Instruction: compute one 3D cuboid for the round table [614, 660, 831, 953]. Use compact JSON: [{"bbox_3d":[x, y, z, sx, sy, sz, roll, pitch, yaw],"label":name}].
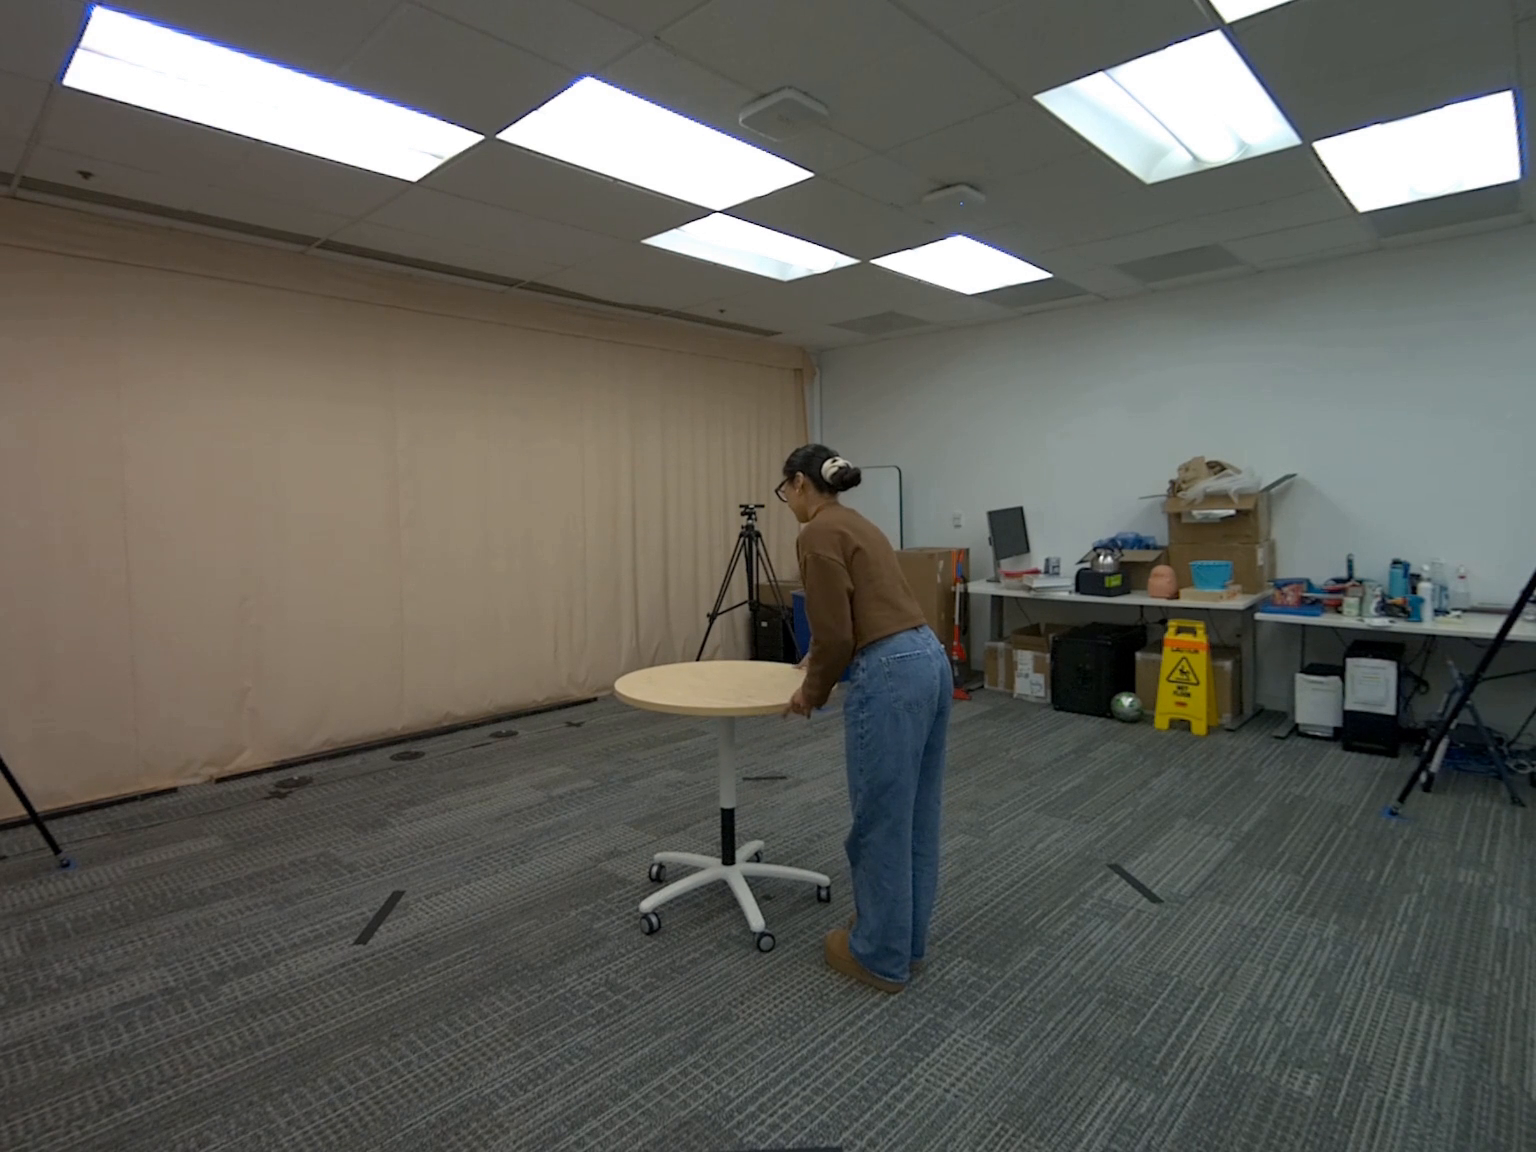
[{"bbox_3d":[-0.141,0.758,2.929,0.763,0.792,0.767,-1,4,-2],"label":"round table"}]
